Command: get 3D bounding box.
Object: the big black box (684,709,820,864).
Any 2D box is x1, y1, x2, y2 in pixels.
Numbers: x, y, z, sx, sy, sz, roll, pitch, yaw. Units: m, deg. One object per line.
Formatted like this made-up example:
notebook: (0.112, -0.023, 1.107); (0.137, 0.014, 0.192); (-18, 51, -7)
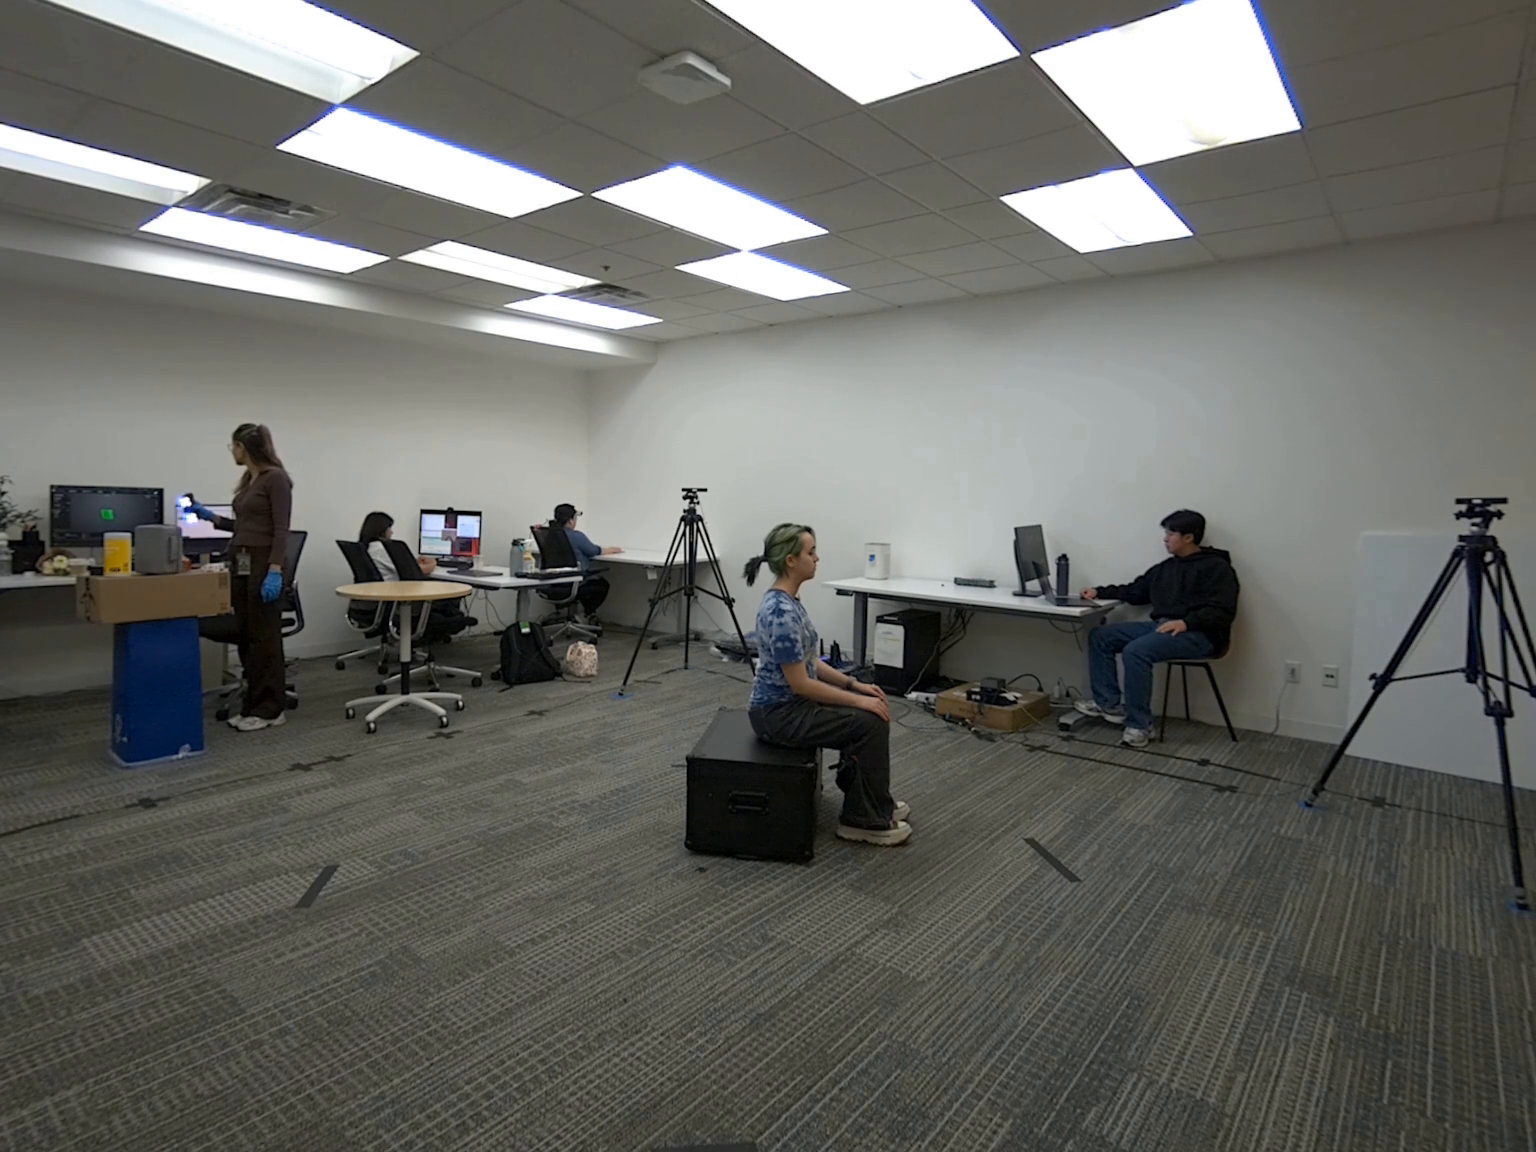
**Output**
big black box: (-0.036, 0.835, 3.587); (0.526, 0.395, 0.857); (1, 5, 7)
